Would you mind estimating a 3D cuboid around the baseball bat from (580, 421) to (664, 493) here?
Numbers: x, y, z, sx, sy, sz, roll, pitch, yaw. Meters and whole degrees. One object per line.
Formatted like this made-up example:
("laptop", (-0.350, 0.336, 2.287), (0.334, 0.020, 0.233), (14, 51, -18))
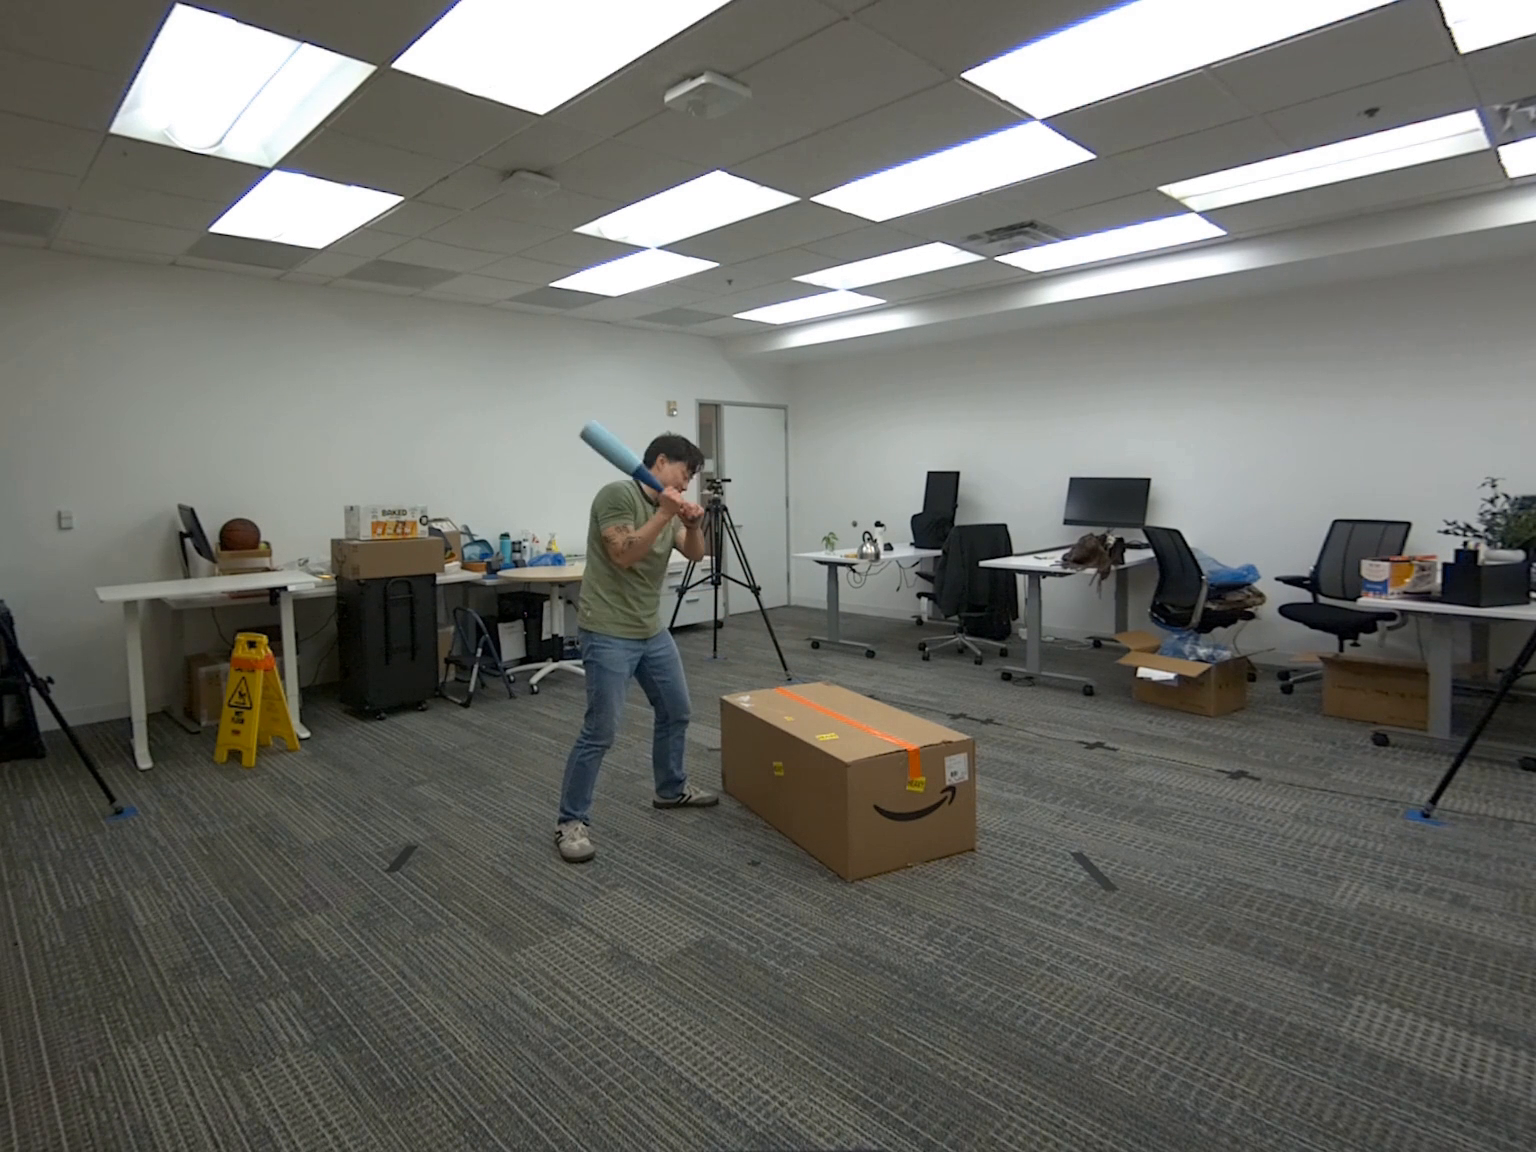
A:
("baseball bat", (-0.445, -0.368, 3.202), (0.541, 0.089, 0.089), (40, 2, -3))
